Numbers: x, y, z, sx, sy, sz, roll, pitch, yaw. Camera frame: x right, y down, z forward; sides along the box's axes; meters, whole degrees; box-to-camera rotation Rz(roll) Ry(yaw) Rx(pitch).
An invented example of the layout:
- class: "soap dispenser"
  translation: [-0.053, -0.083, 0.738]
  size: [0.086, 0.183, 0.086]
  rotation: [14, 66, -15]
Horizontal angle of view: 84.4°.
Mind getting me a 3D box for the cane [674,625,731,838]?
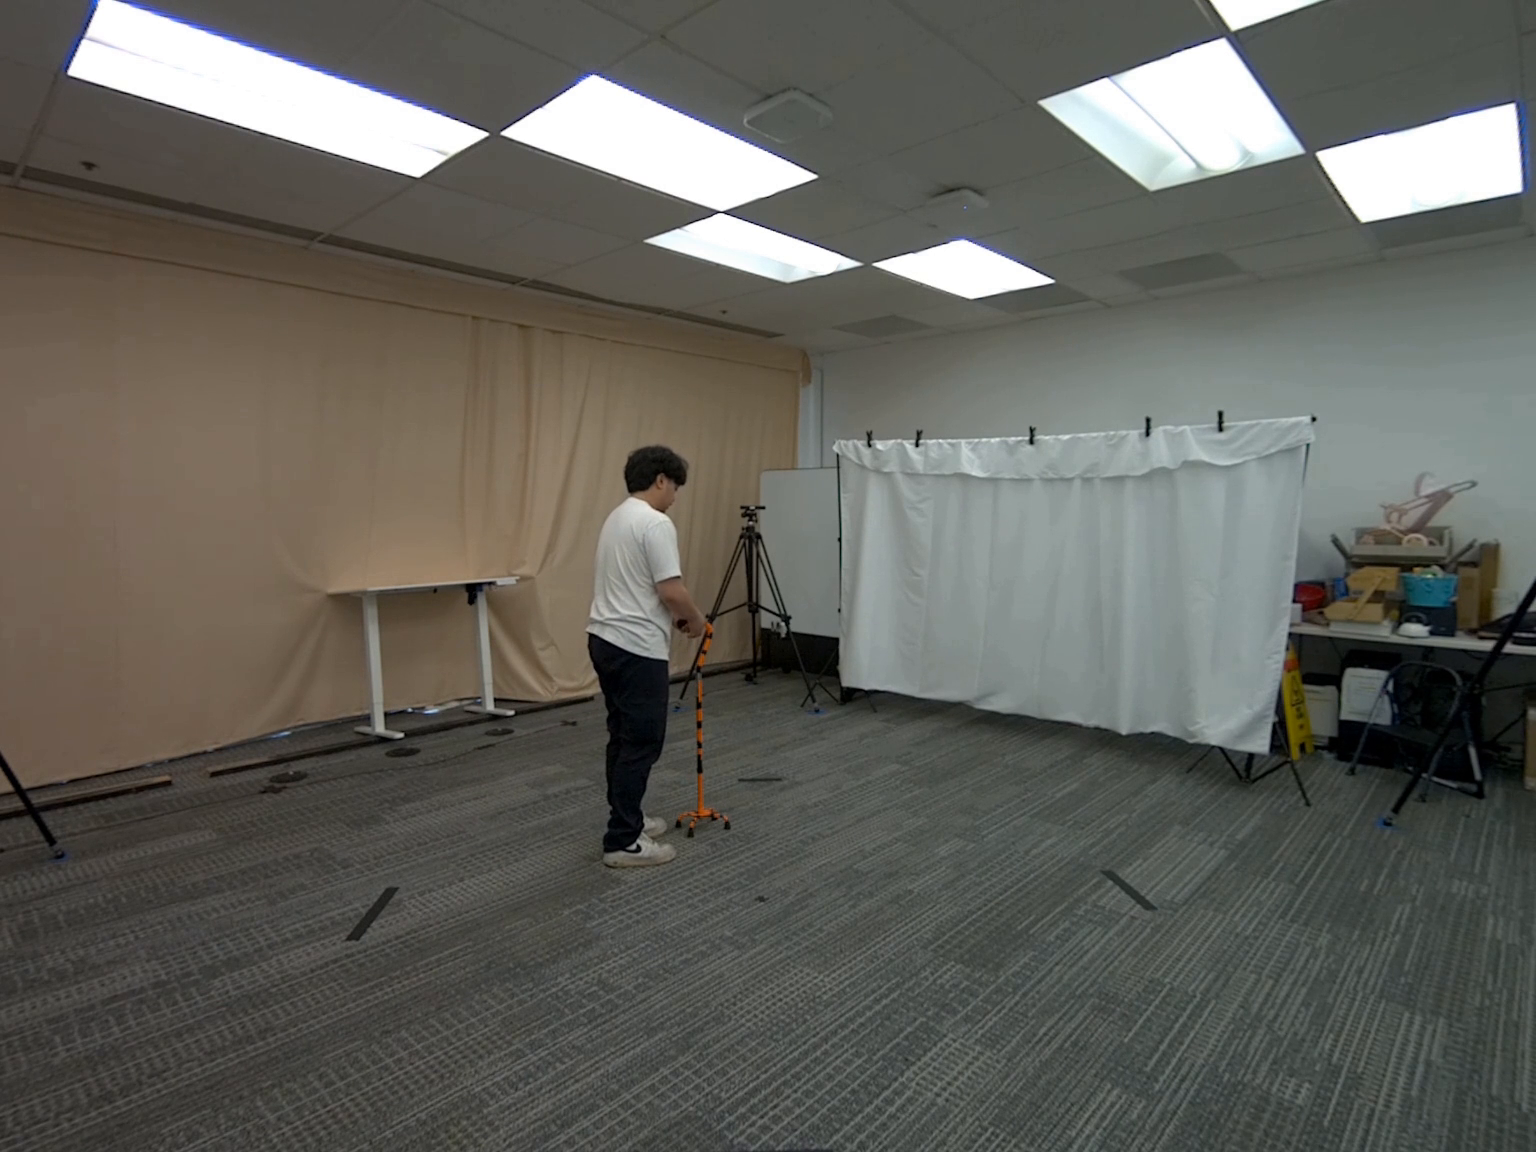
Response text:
- class: "cane"
  translation: [-0.281, 0.638, 3.632]
  size: [0.201, 0.907, 0.156]
  rotation: [0, 1, -29]
